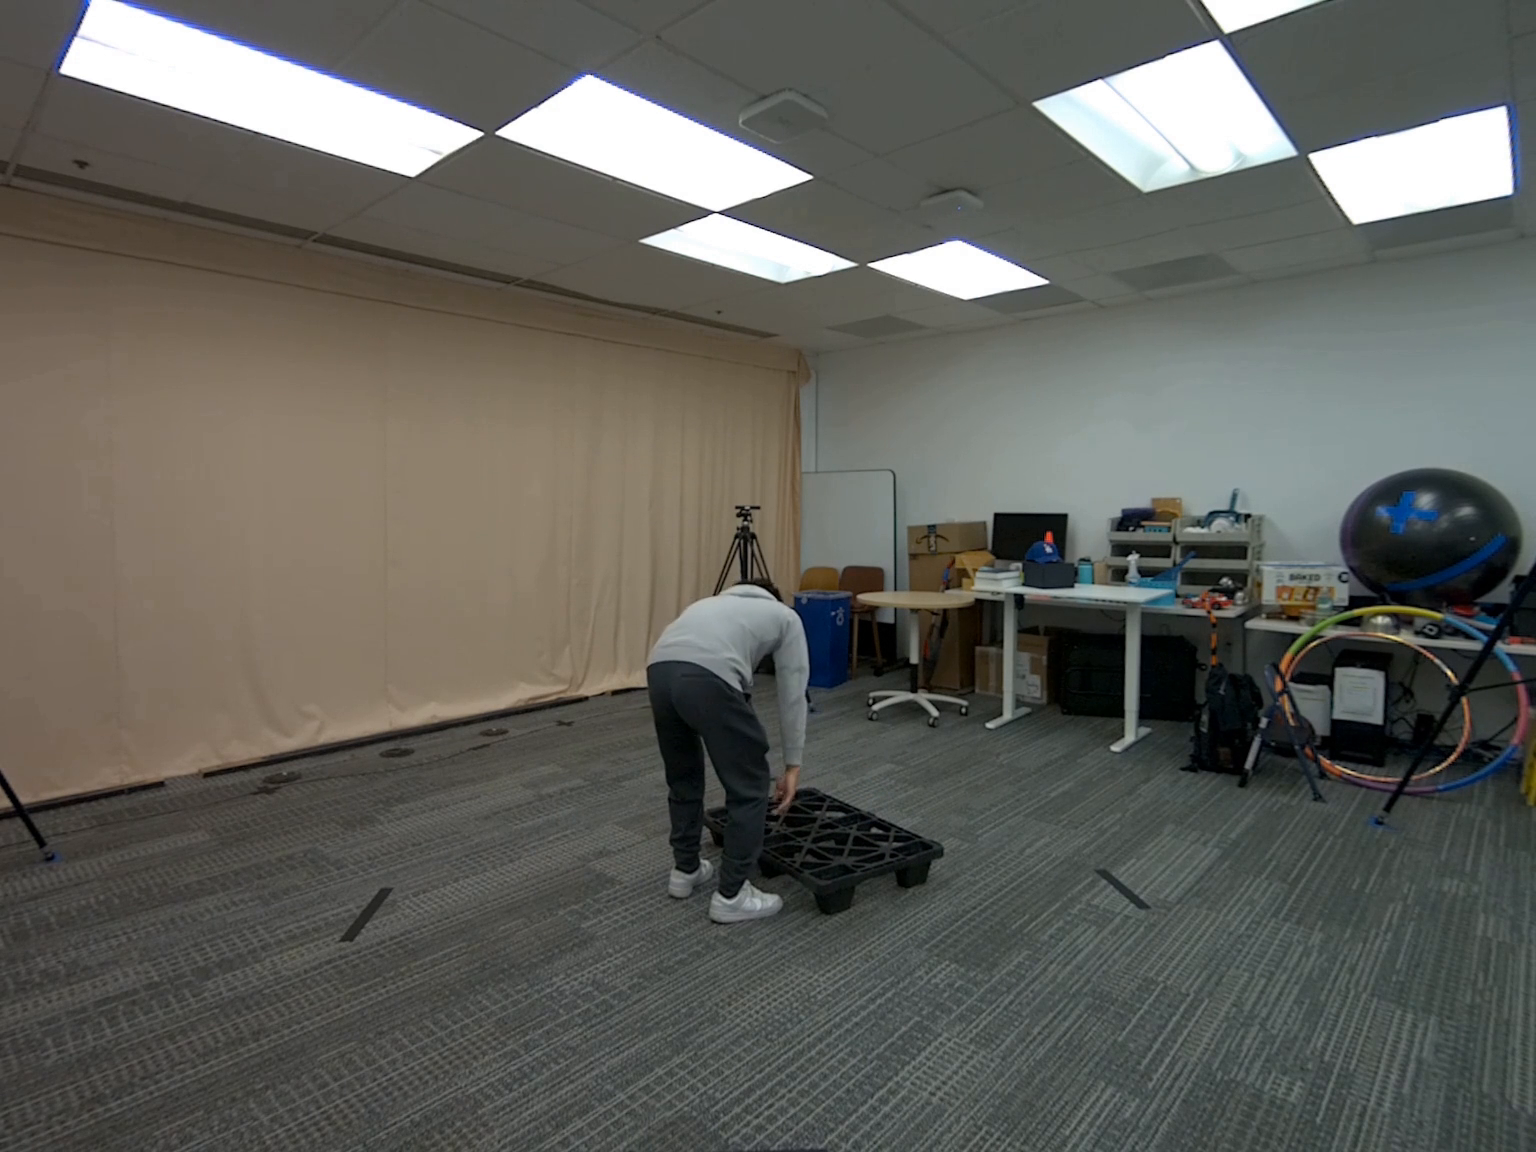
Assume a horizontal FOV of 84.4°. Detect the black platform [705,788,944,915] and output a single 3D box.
[{"bbox_3d":[0.183,1.054,3.278,0.588,0.143,0.831,-4,6,-34],"label":"black platform"}]
